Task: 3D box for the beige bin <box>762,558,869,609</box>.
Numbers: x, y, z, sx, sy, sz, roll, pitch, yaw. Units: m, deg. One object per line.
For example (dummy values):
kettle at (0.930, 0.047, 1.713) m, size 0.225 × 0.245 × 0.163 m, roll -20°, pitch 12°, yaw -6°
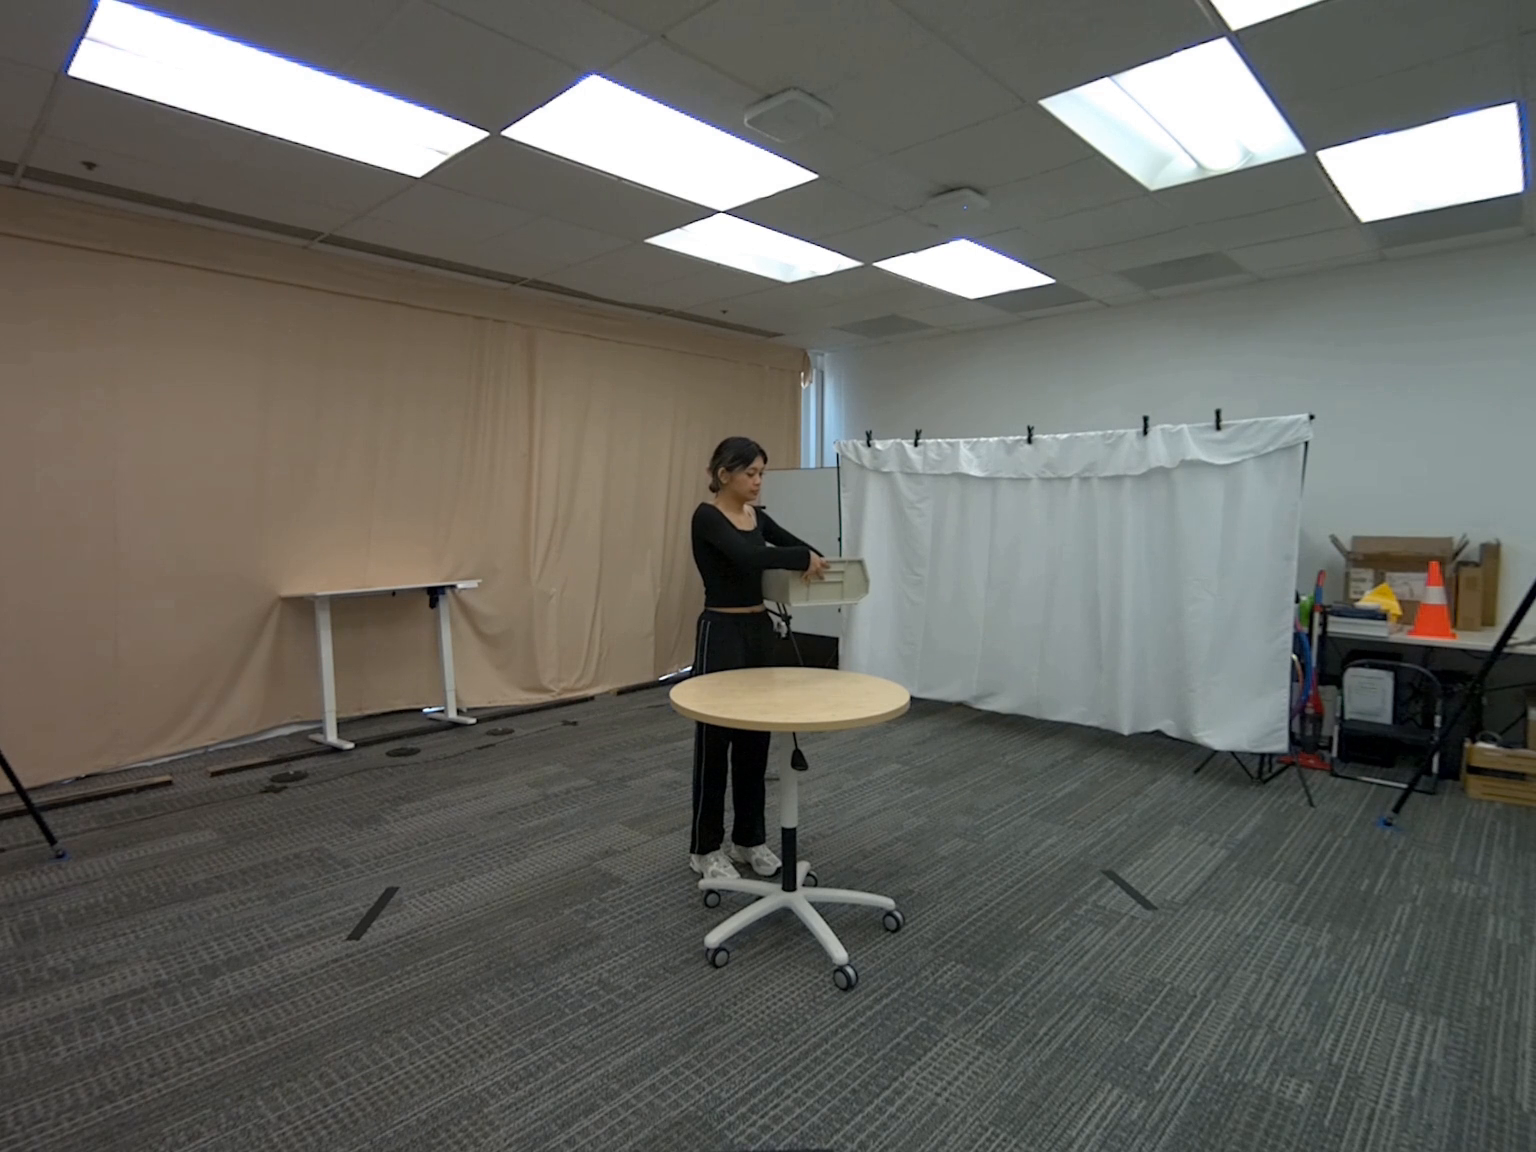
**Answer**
beige bin at (0.129, 0.010, 3.333) m, size 0.367 × 0.188 × 0.435 m, roll -2°, pitch 5°, yaw -31°
